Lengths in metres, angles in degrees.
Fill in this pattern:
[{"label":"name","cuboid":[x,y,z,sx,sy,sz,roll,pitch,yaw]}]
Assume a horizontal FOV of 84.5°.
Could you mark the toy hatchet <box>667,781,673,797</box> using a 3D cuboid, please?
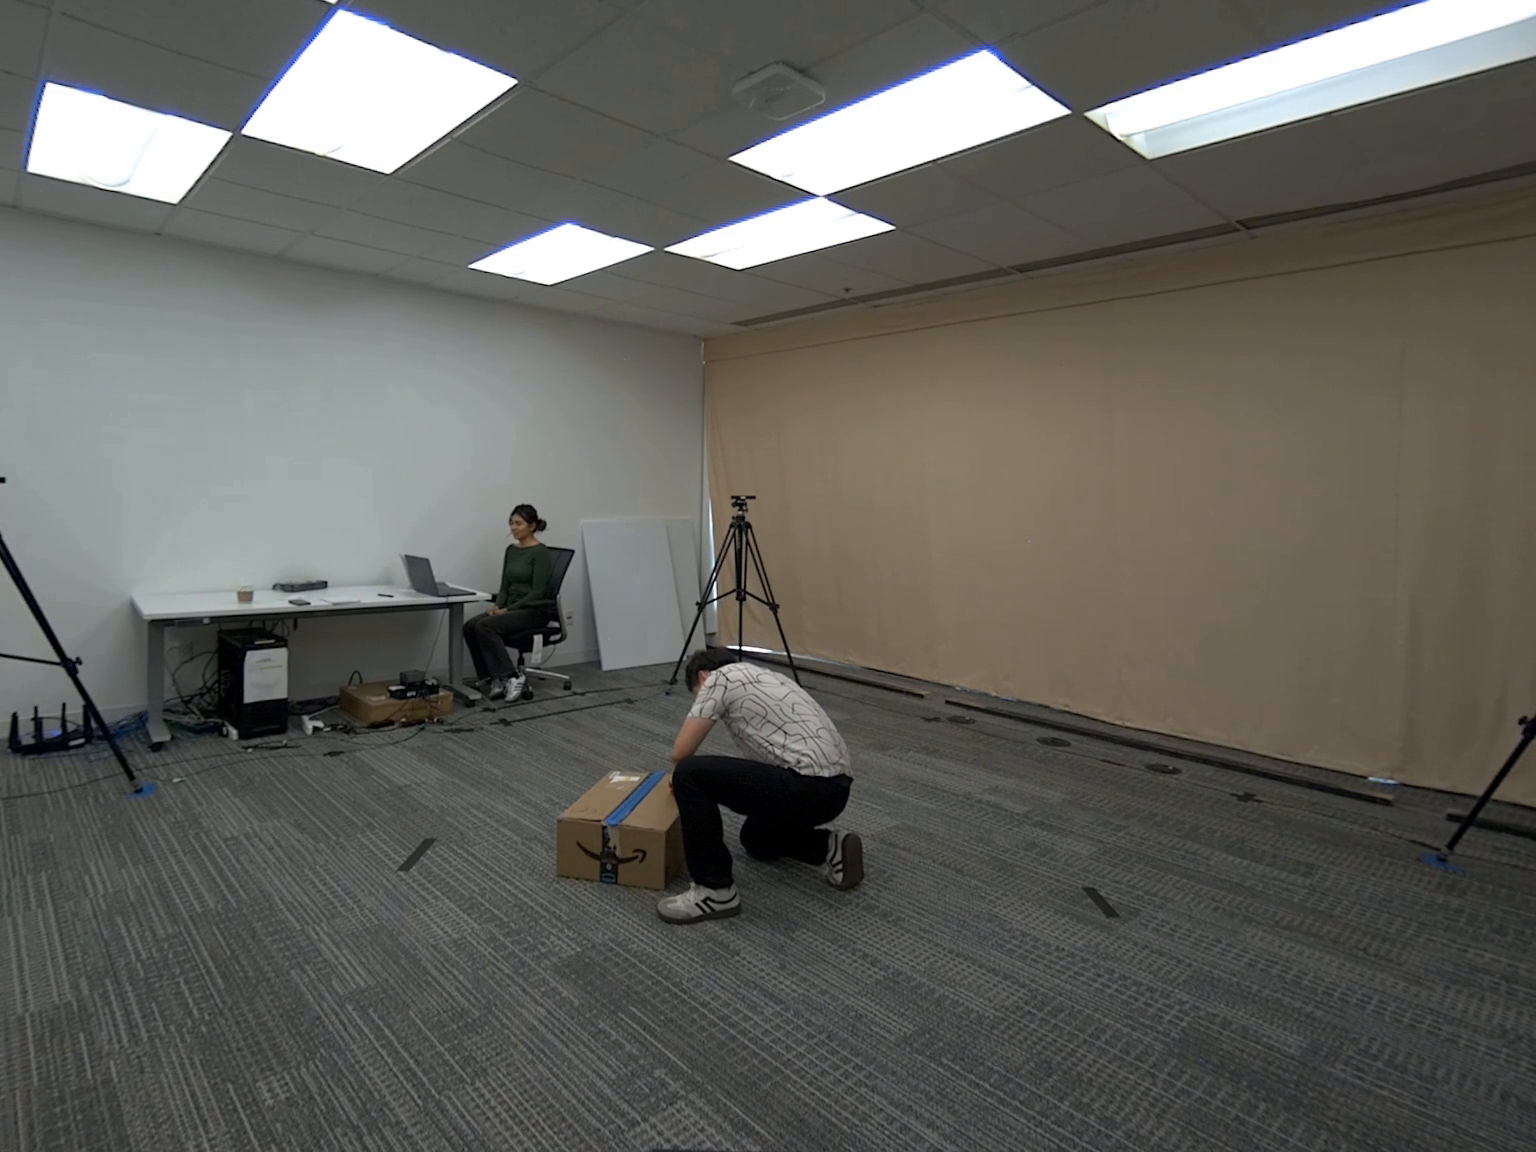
[{"label":"toy hatchet","cuboid":[-0.282,0.843,3.371,0.264,0.030,0.132,10,-27,-29]}]
